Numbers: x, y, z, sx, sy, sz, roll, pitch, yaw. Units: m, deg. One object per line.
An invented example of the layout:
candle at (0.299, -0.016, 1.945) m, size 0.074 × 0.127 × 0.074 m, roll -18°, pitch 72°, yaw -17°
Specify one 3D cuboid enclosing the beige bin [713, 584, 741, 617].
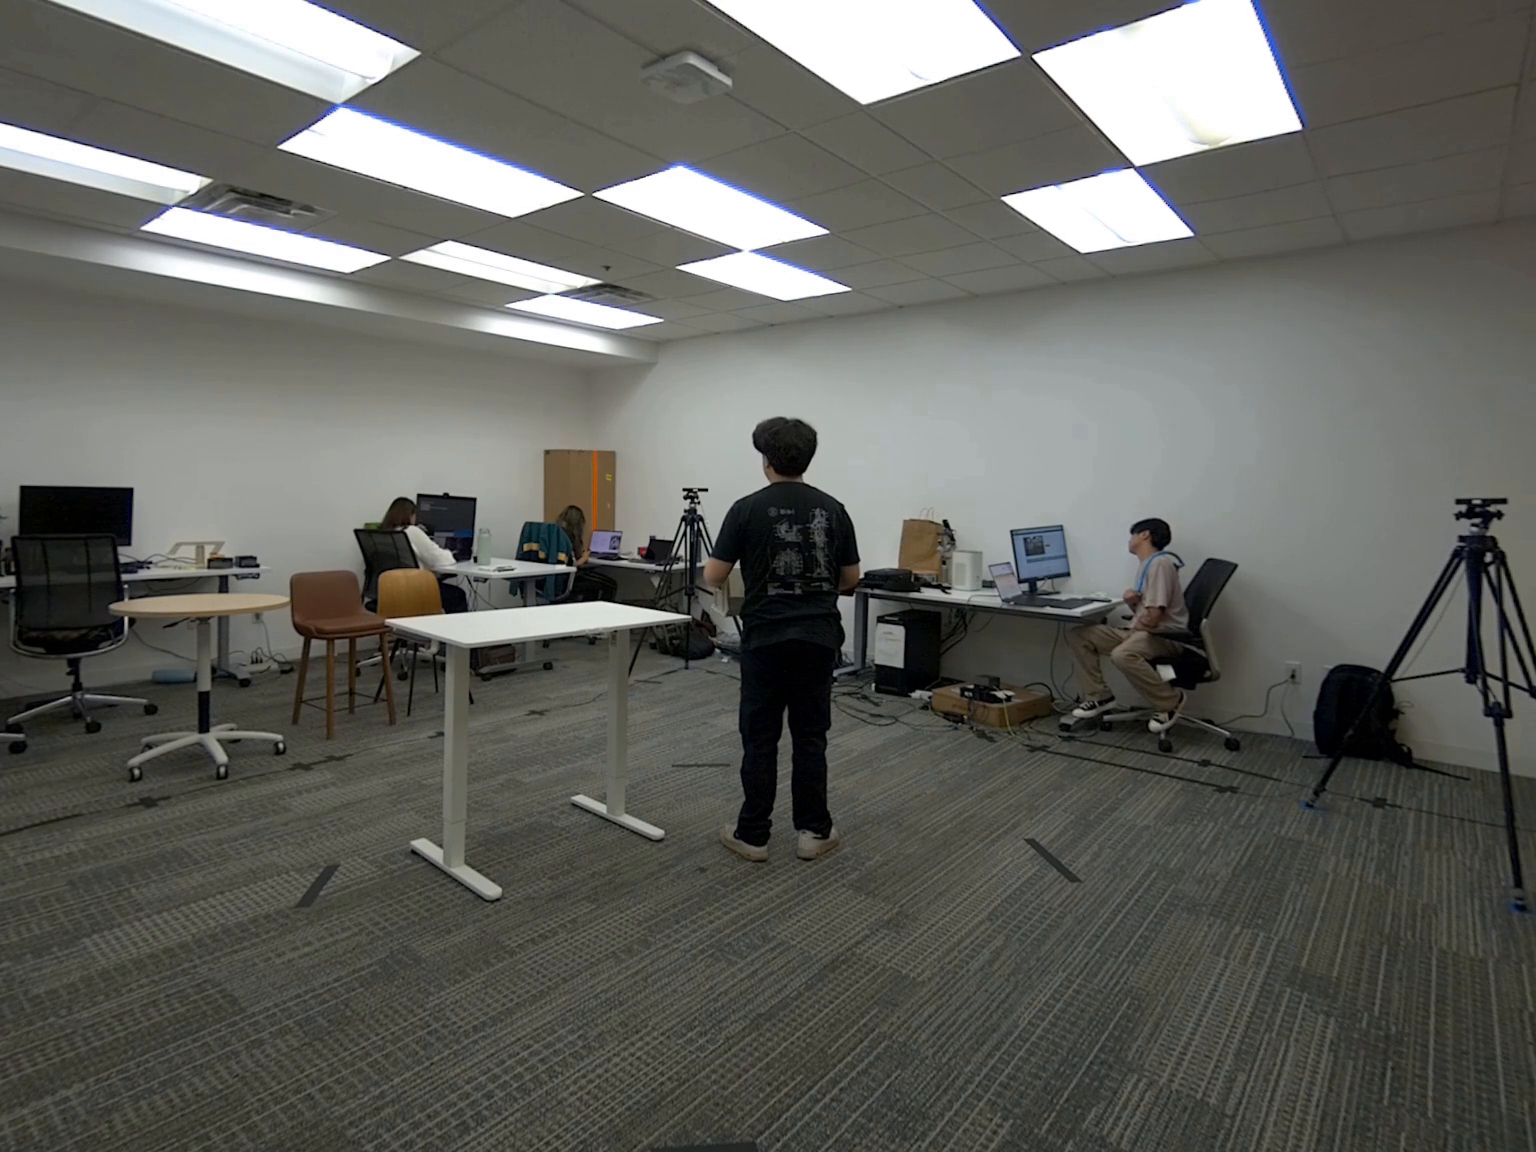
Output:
beige bin at (-0.015, 0.068, 3.628) m, size 0.416 × 0.189 × 0.383 m, roll 2°, pitch 1°, yaw -14°
